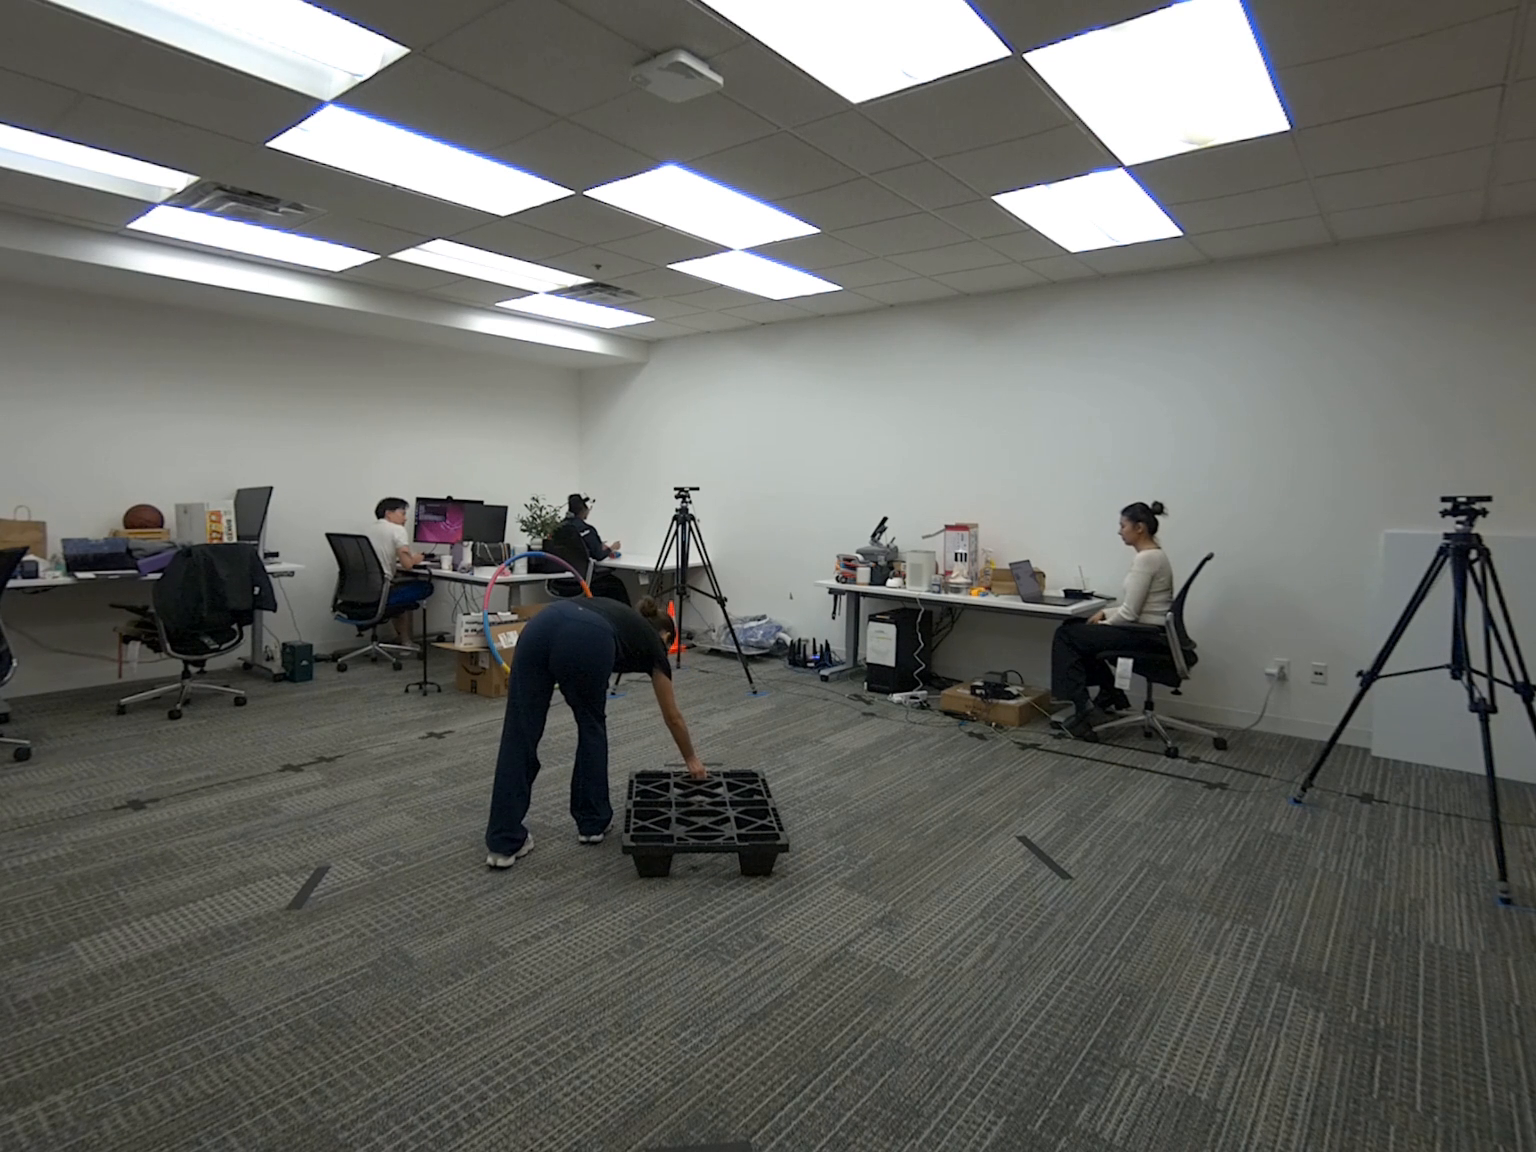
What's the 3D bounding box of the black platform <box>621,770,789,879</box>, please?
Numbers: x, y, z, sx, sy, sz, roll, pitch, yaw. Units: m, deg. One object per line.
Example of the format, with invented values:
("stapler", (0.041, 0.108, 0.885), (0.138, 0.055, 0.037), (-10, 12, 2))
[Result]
("black platform", (-0.250, 0.964, 3.414), (0.602, 0.143, 0.813), (1, 6, -6))
